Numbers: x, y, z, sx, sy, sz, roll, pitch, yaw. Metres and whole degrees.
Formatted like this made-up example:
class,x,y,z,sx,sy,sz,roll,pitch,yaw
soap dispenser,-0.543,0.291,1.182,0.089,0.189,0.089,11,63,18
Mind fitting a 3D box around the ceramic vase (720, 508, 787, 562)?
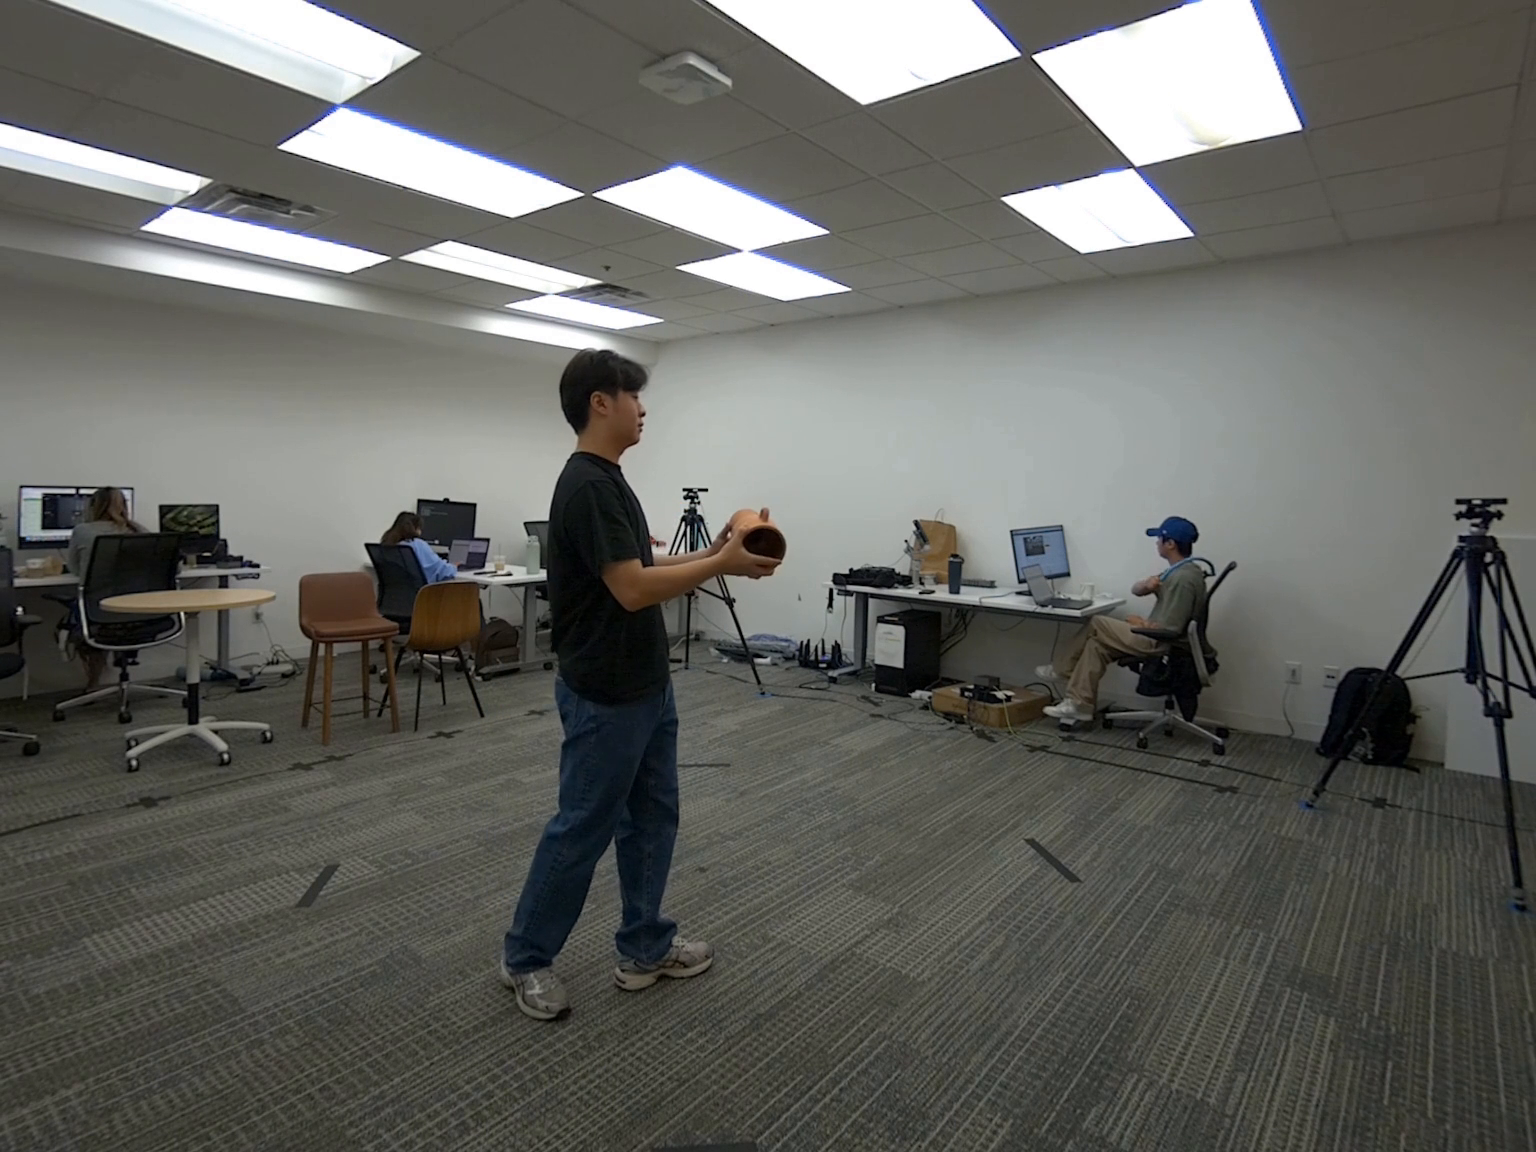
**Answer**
class,x,y,z,sx,sy,sz,roll,pitch,yaw
ceramic vase,-0.054,-0.111,2.318,0.159,0.130,0.226,-40,25,1
